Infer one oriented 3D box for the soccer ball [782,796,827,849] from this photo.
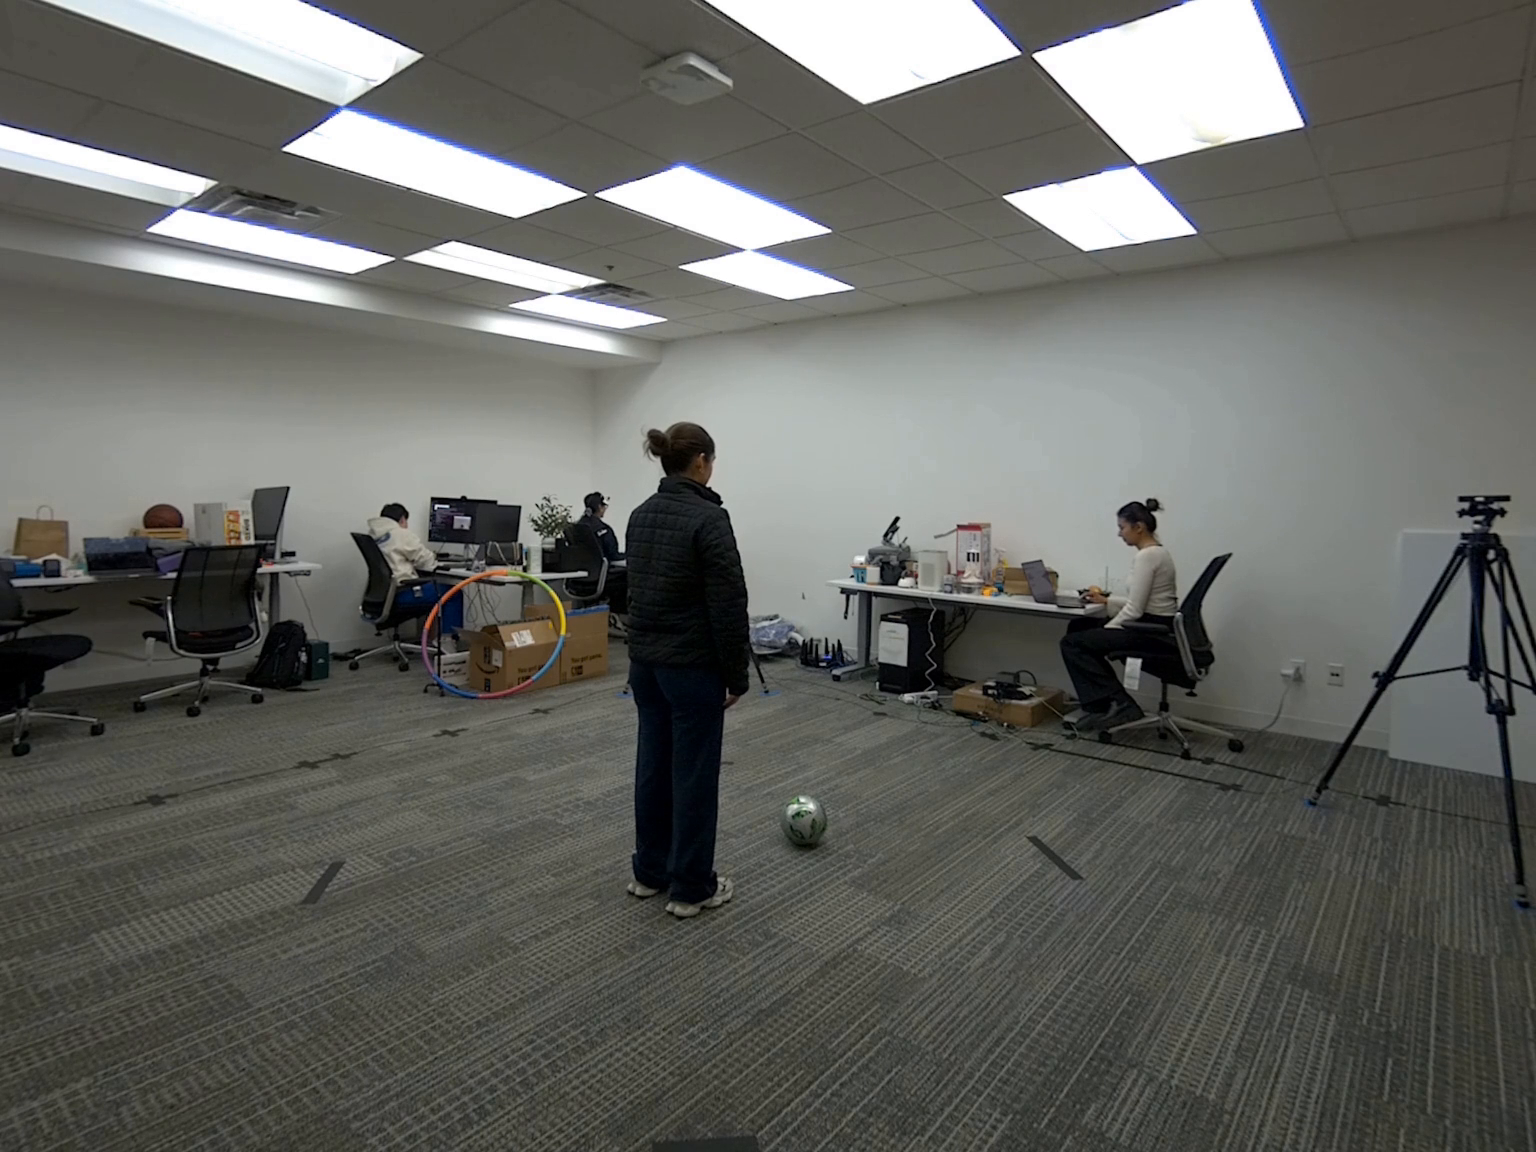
[{"bbox_3d":[0.132,0.956,3.344,0.187,0.187,0.188,1,4,-2],"label":"soccer ball"}]
